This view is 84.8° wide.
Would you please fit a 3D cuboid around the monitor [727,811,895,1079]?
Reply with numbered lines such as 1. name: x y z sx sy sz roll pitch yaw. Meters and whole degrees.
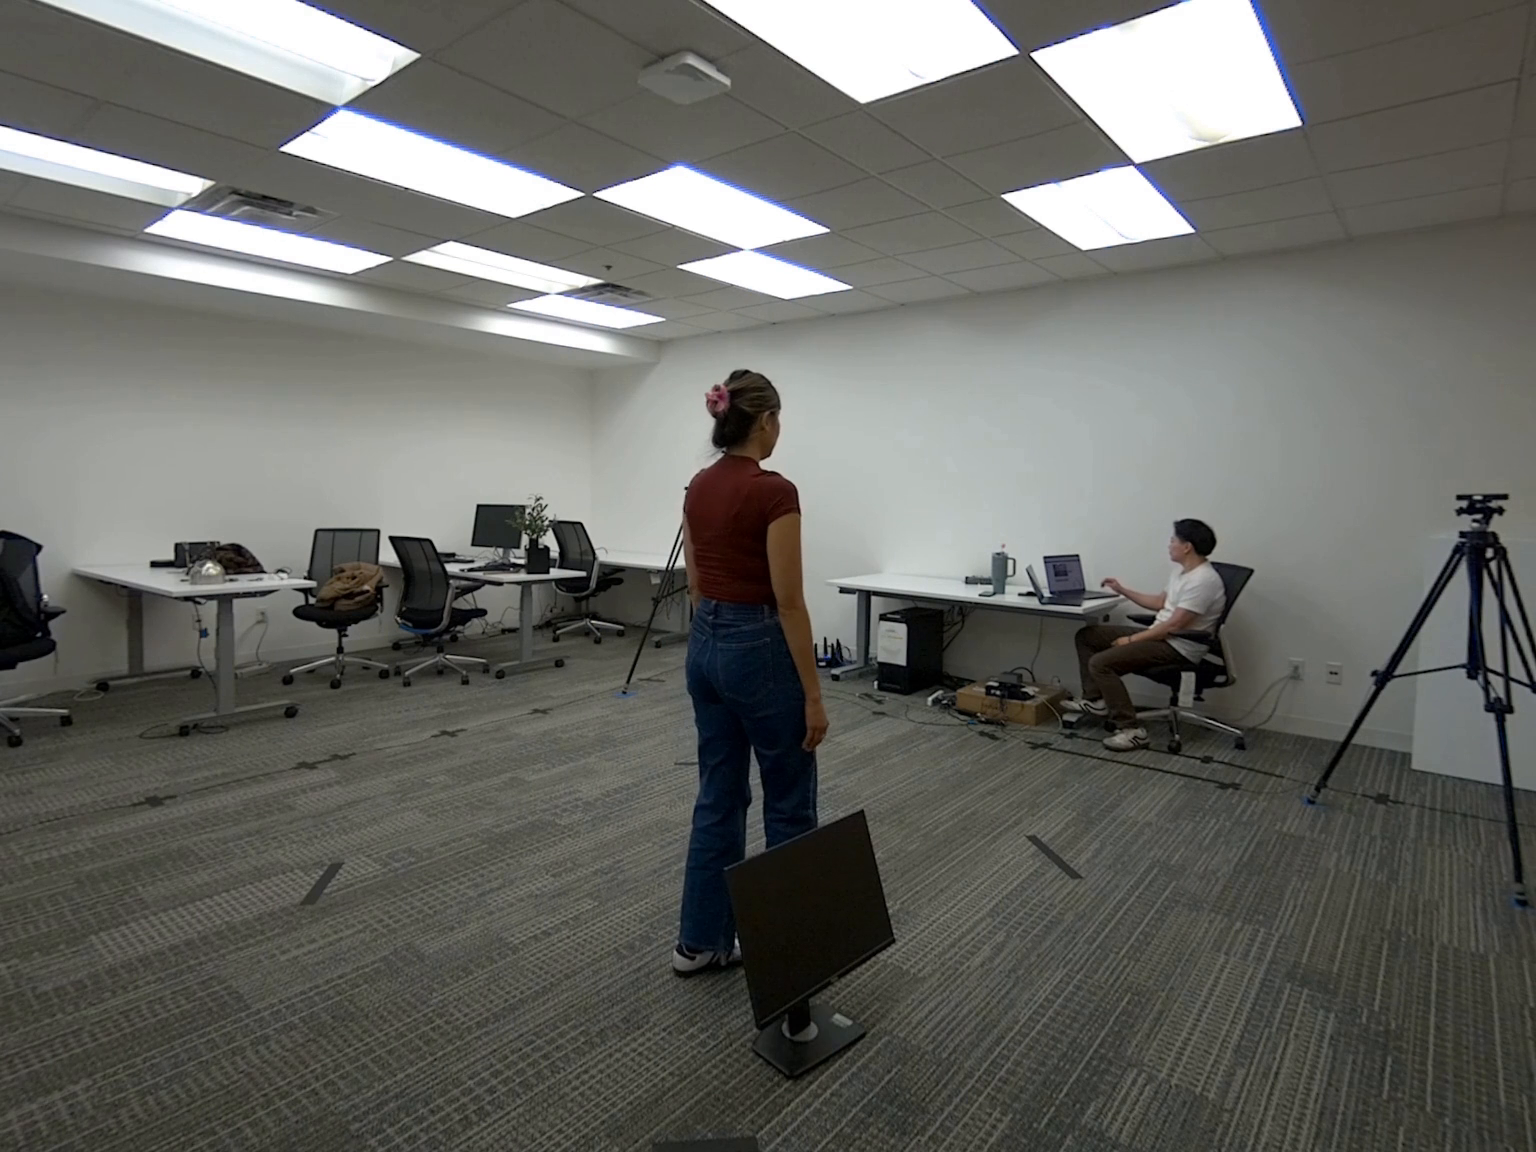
1. monitor: 0.098 0.915 2.142 0.193 0.522 0.523 0 2 42
